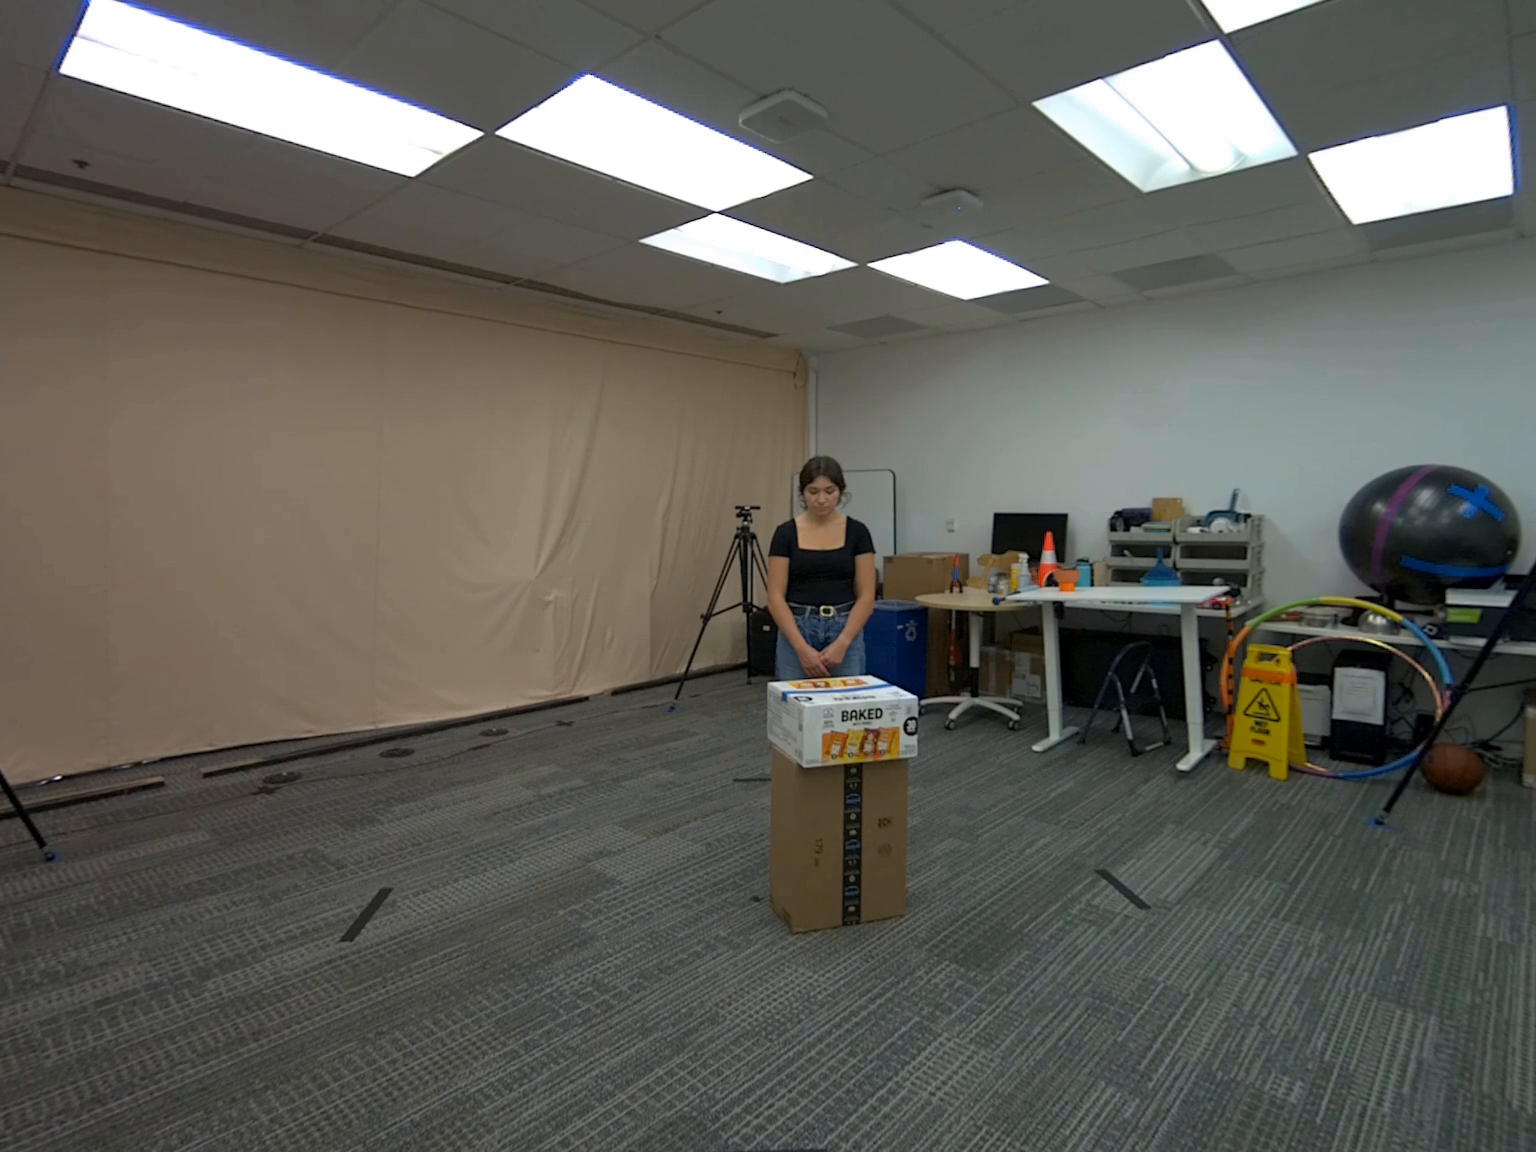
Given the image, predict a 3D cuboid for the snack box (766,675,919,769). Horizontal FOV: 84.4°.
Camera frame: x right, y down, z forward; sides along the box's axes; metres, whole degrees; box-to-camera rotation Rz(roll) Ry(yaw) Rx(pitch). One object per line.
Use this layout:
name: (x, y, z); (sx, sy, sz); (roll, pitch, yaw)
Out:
snack box: (0.246, 0.483, 2.865); (0.398, 0.205, 0.347); (-2, 5, -18)
